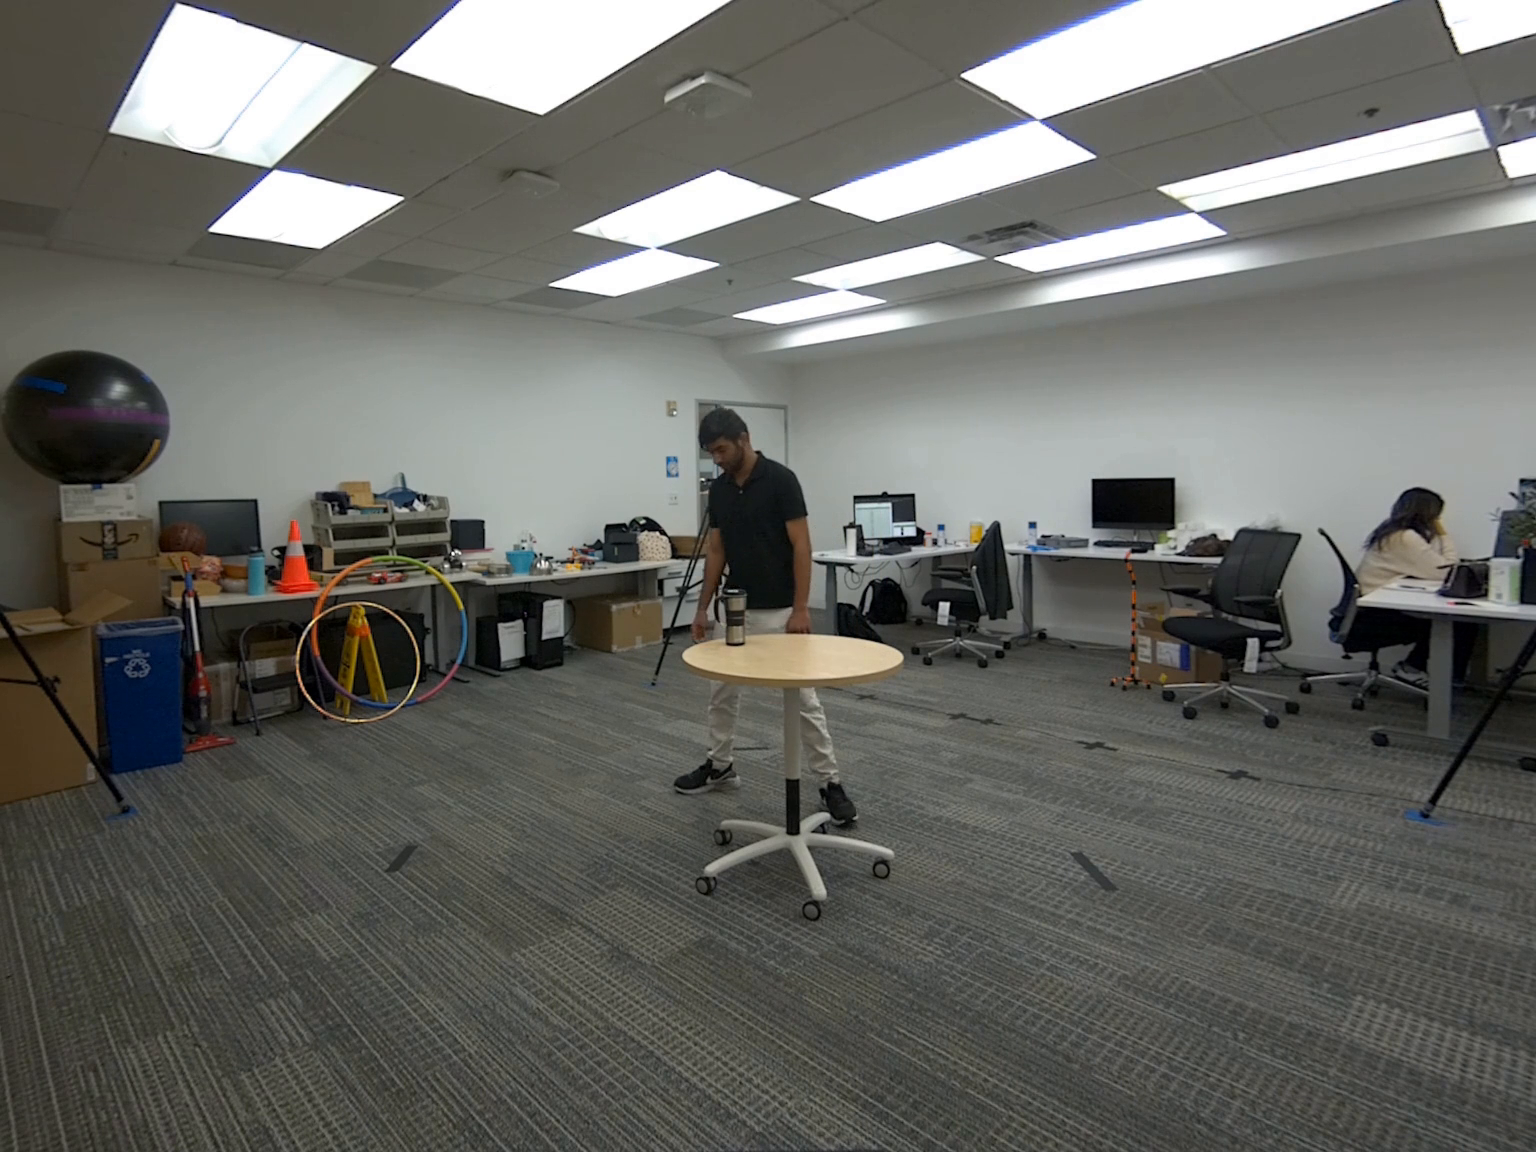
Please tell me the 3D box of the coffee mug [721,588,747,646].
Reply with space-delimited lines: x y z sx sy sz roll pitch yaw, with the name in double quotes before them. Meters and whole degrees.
"coffee mug" -0.138 0.155 3.164 0.121 0.202 0.089 1 5 -8
